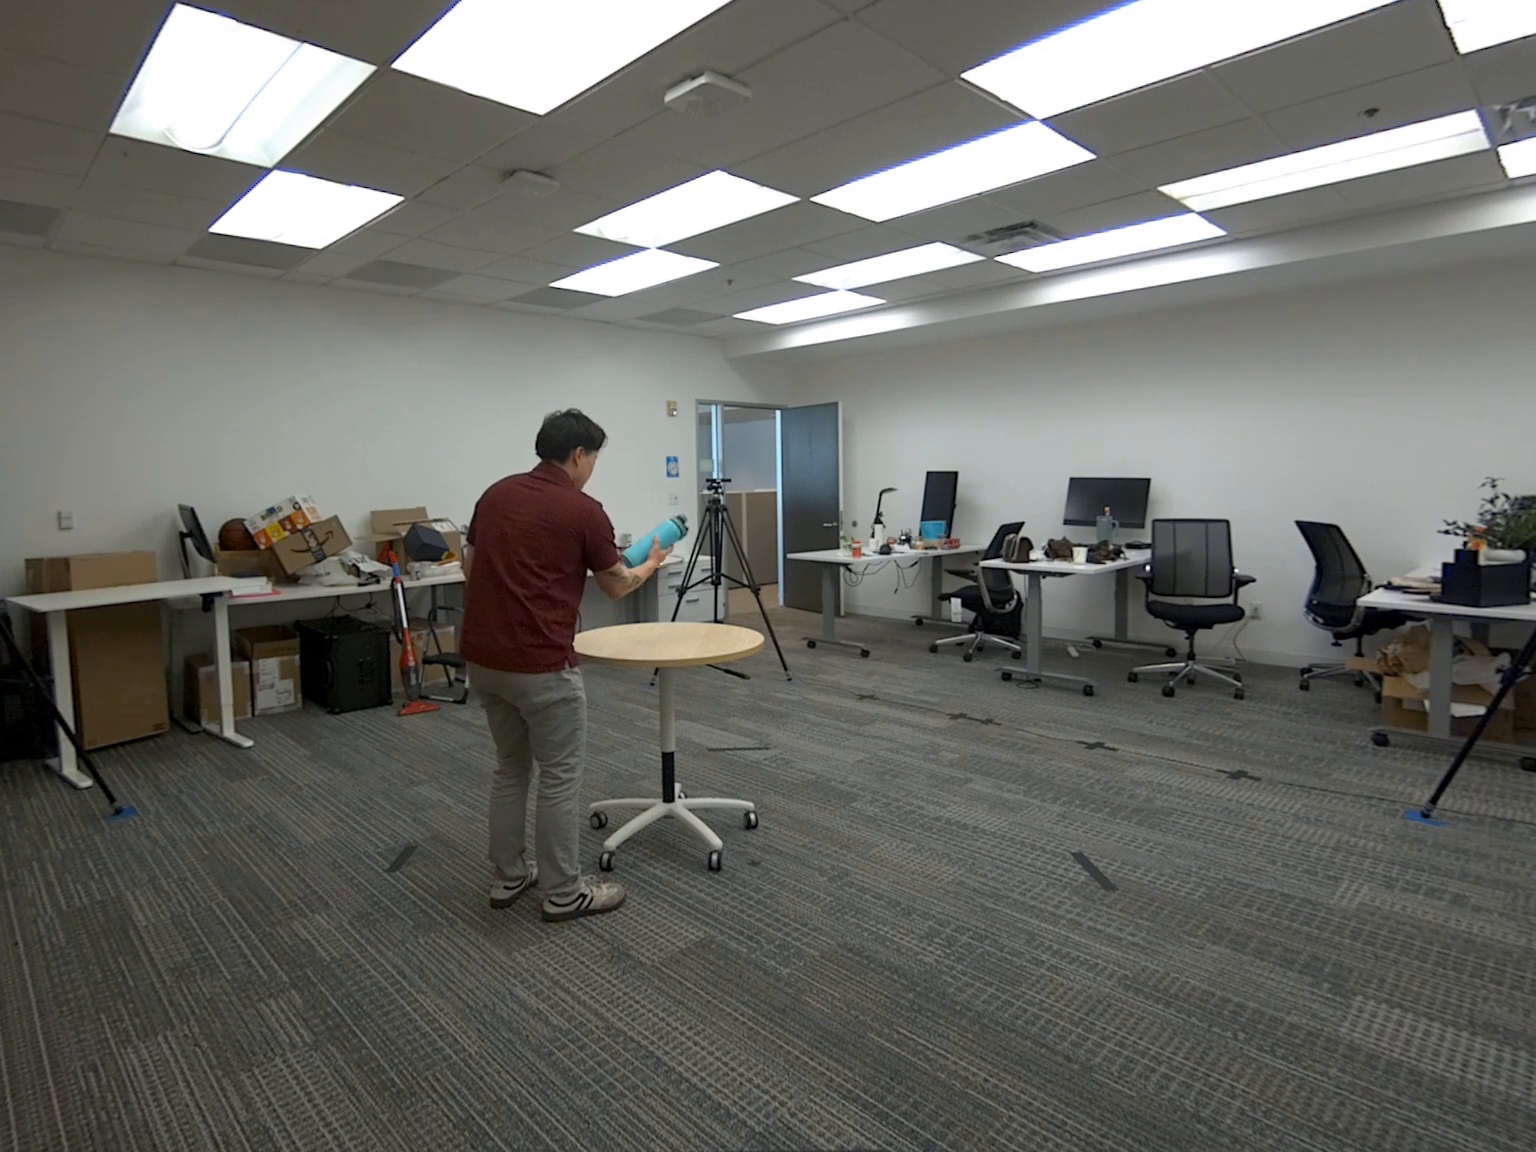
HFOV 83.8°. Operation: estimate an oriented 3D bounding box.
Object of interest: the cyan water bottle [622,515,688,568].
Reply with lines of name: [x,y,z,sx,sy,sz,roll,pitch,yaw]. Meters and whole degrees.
cyan water bottle: [-0.420,-0.119,3.201,0.282,0.090,0.095,-38,21,-22]
